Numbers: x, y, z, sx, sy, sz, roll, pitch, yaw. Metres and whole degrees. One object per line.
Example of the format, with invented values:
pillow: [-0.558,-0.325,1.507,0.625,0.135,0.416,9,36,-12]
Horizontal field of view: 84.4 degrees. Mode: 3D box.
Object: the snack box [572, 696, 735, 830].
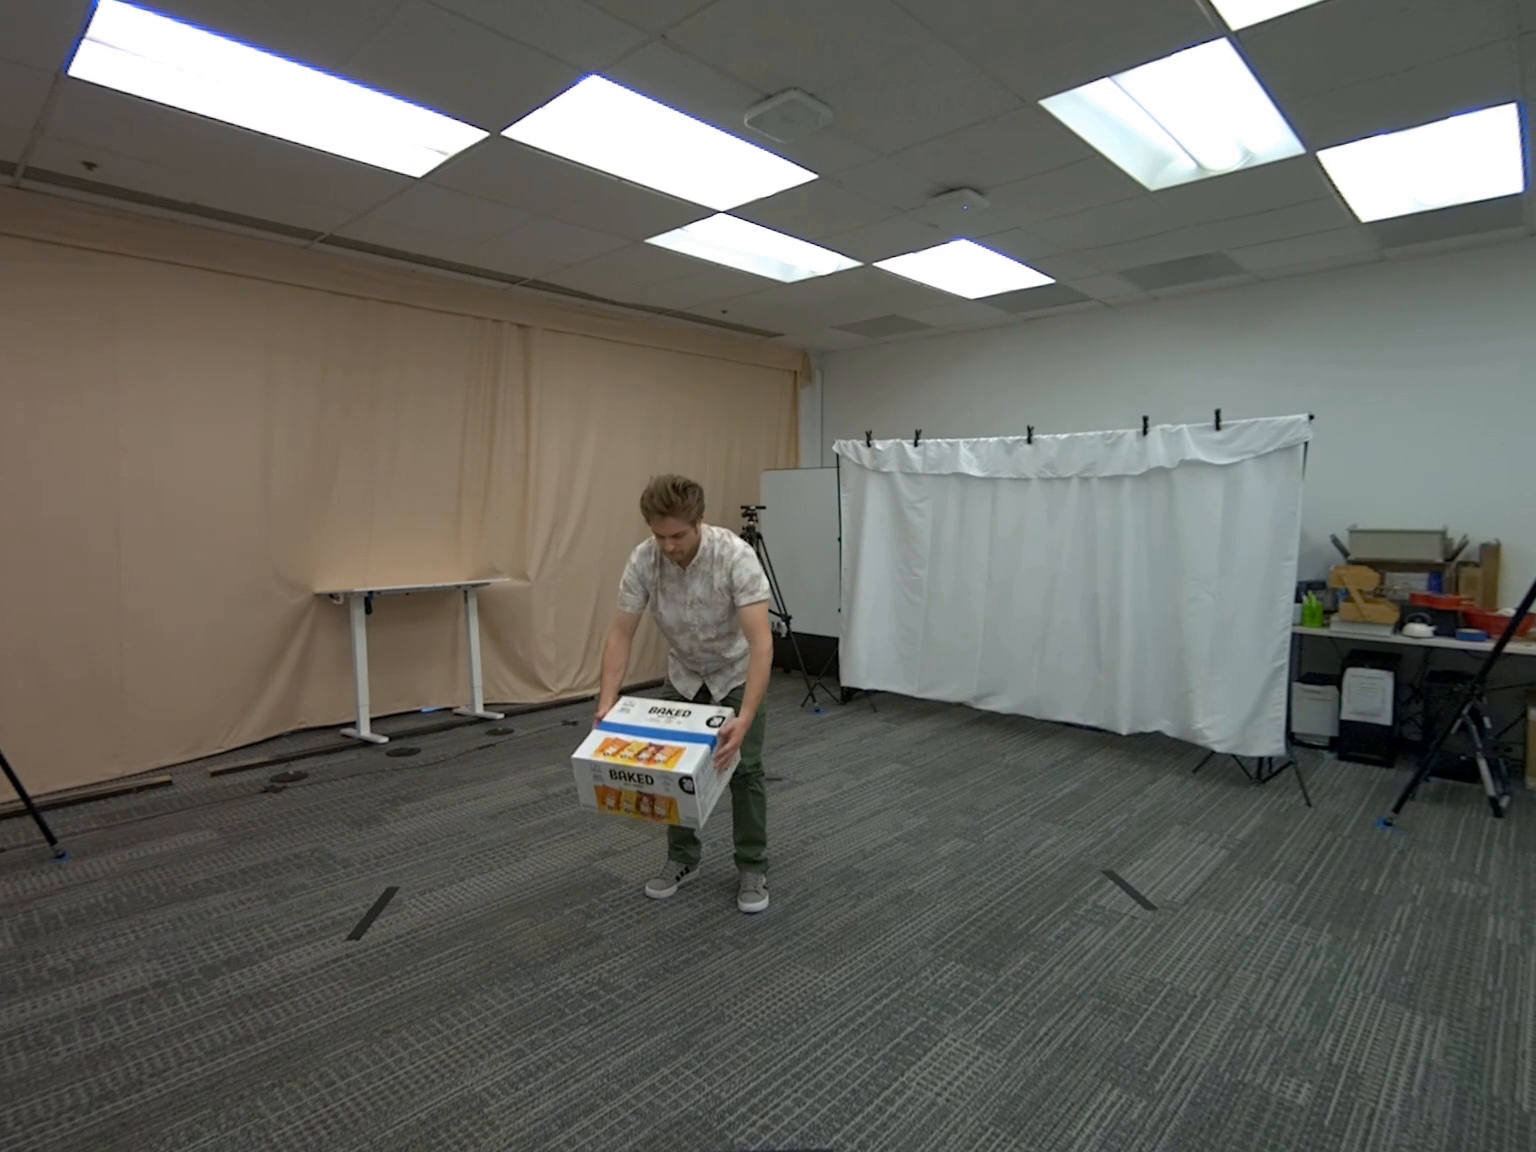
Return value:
snack box: [-0.341,0.568,2.631,0.414,0.202,0.338,2,24,21]
